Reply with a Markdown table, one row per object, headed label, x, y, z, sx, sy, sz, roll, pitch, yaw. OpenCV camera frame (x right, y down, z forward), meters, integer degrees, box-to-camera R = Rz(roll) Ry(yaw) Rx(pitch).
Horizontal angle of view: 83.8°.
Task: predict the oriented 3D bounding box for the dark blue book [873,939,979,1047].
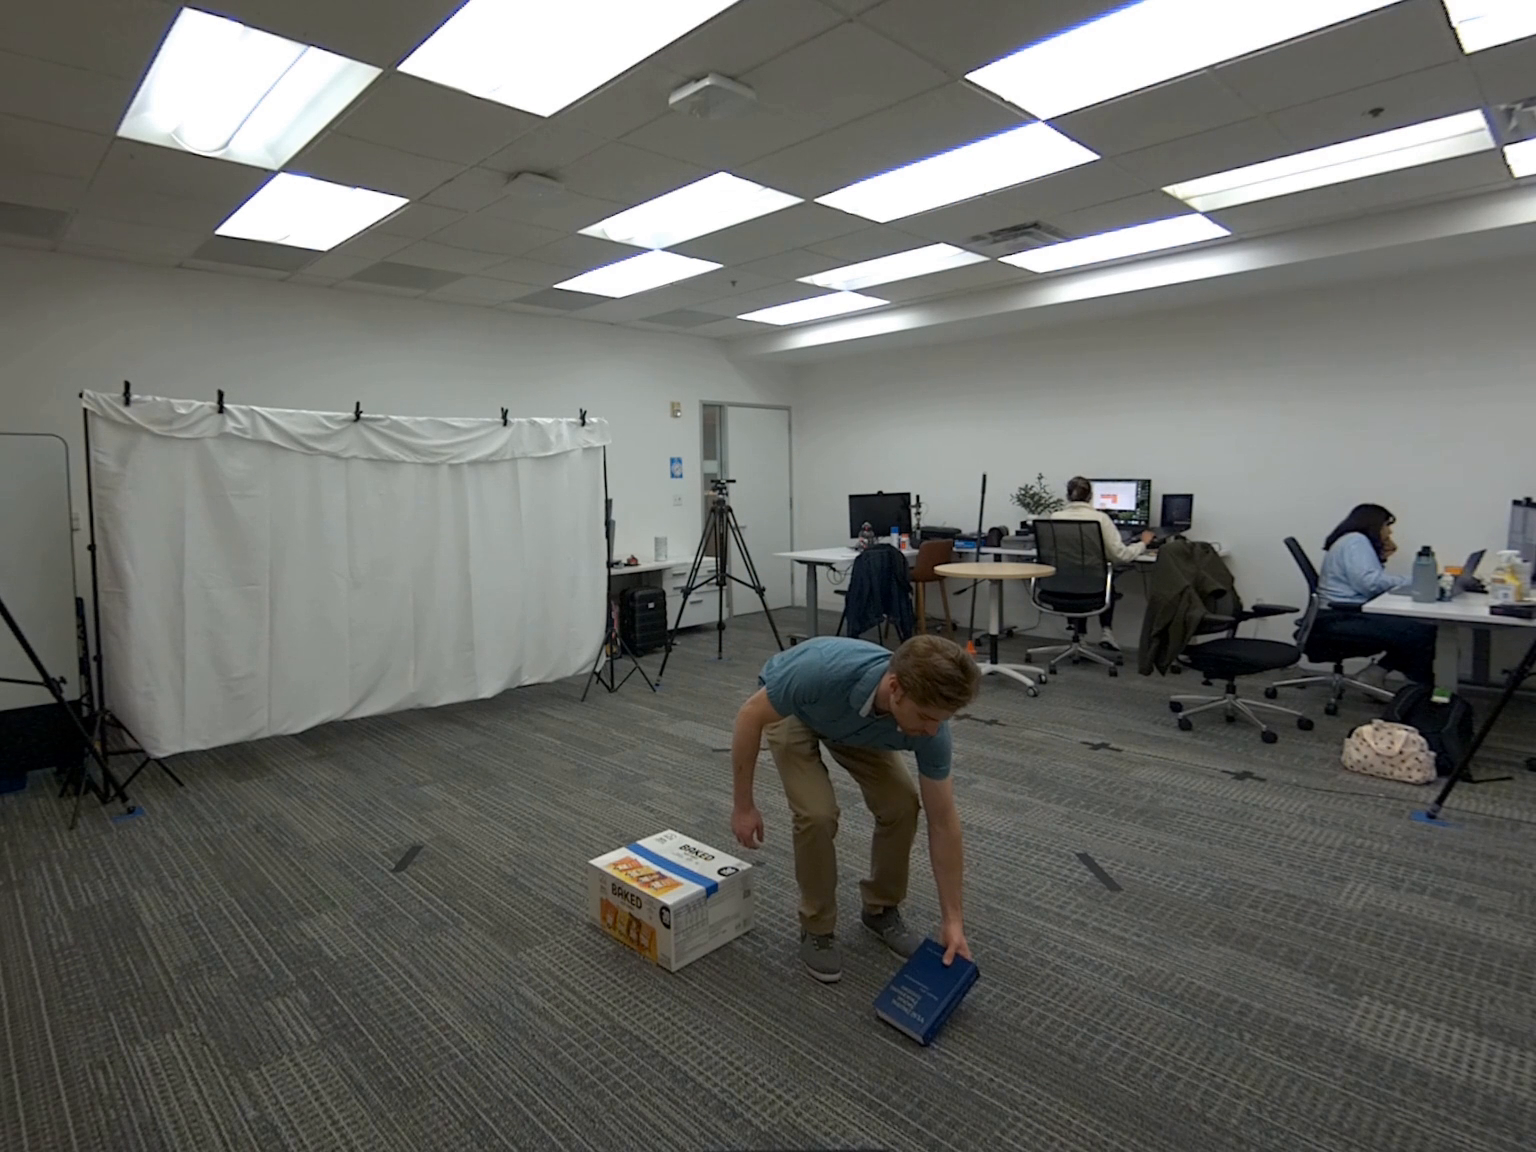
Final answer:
| label | x | y | z | sx | sy | sz | roll | pitch | yaw |
| --- | --- | --- | --- | --- | --- | --- | --- | --- | --- |
| dark blue book | 0.410 | 1.080 | 2.212 | 0.243 | 0.044 | 0.168 | -36 | 25 | -33 |
